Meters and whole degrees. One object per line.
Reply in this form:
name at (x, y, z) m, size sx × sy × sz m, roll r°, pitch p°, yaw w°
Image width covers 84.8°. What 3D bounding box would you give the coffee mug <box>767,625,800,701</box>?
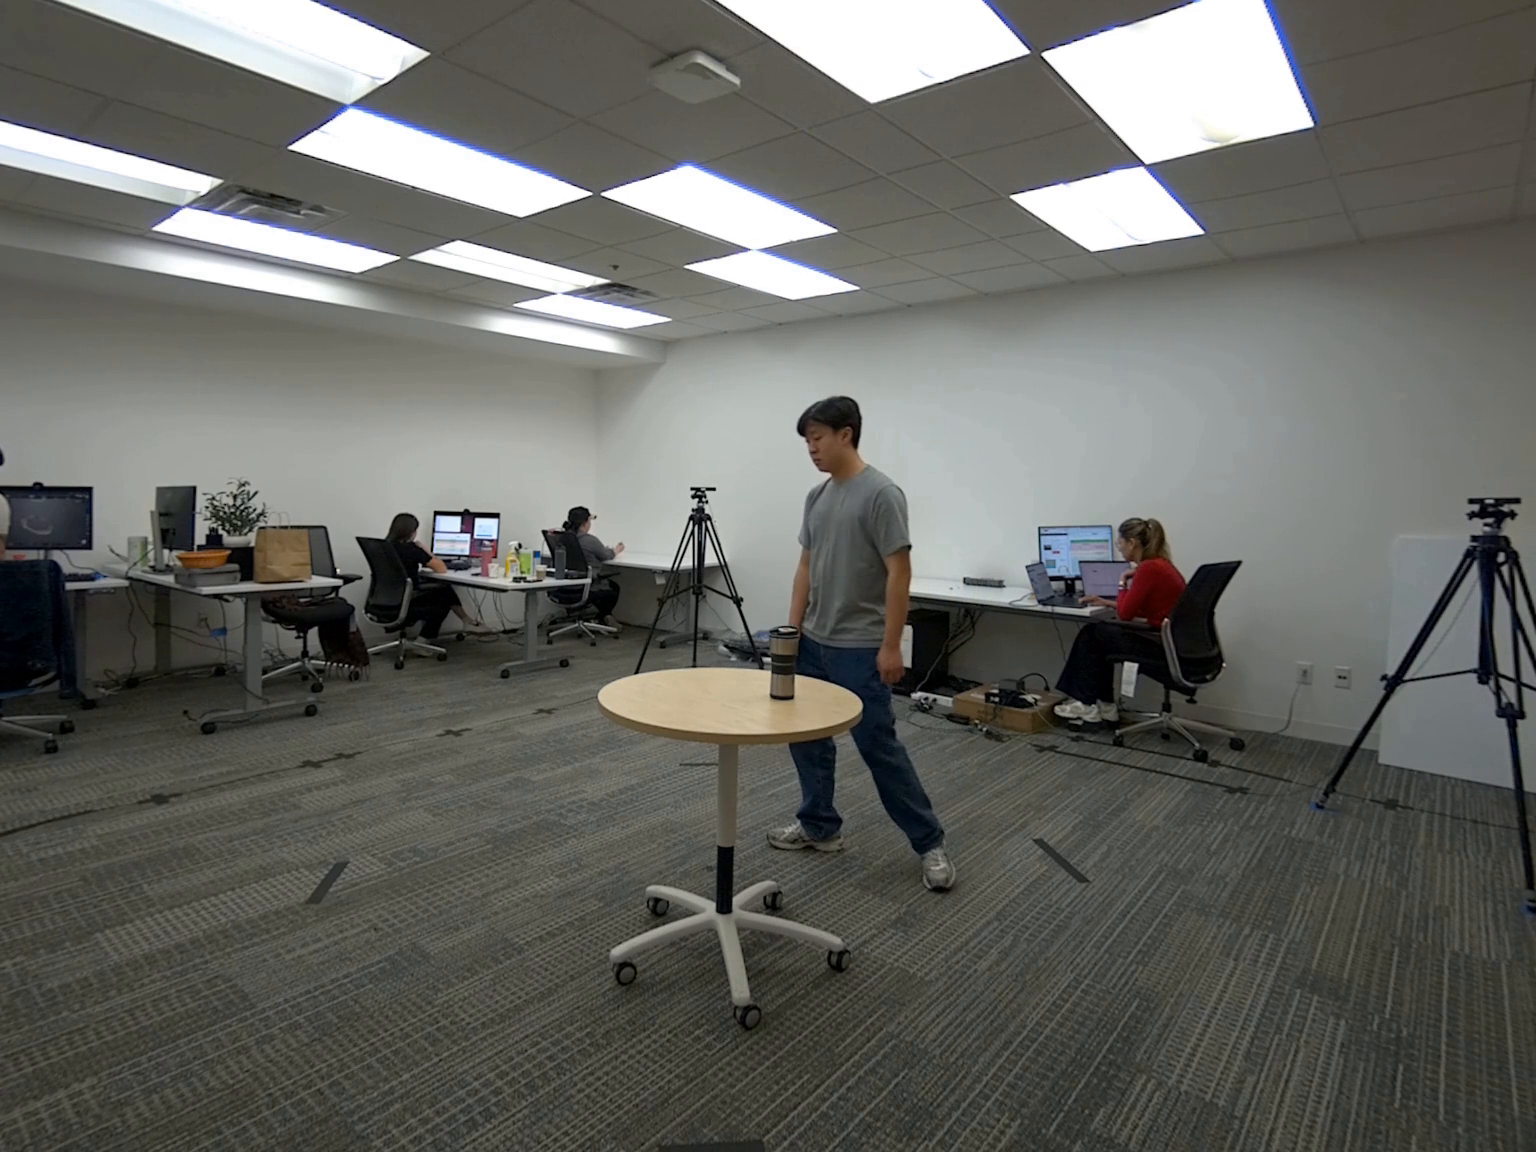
coffee mug at (0.052, 0.252, 2.492) m, size 0.091 × 0.202 × 0.119 m, roll 1°, pitch 6°, yaw 38°
